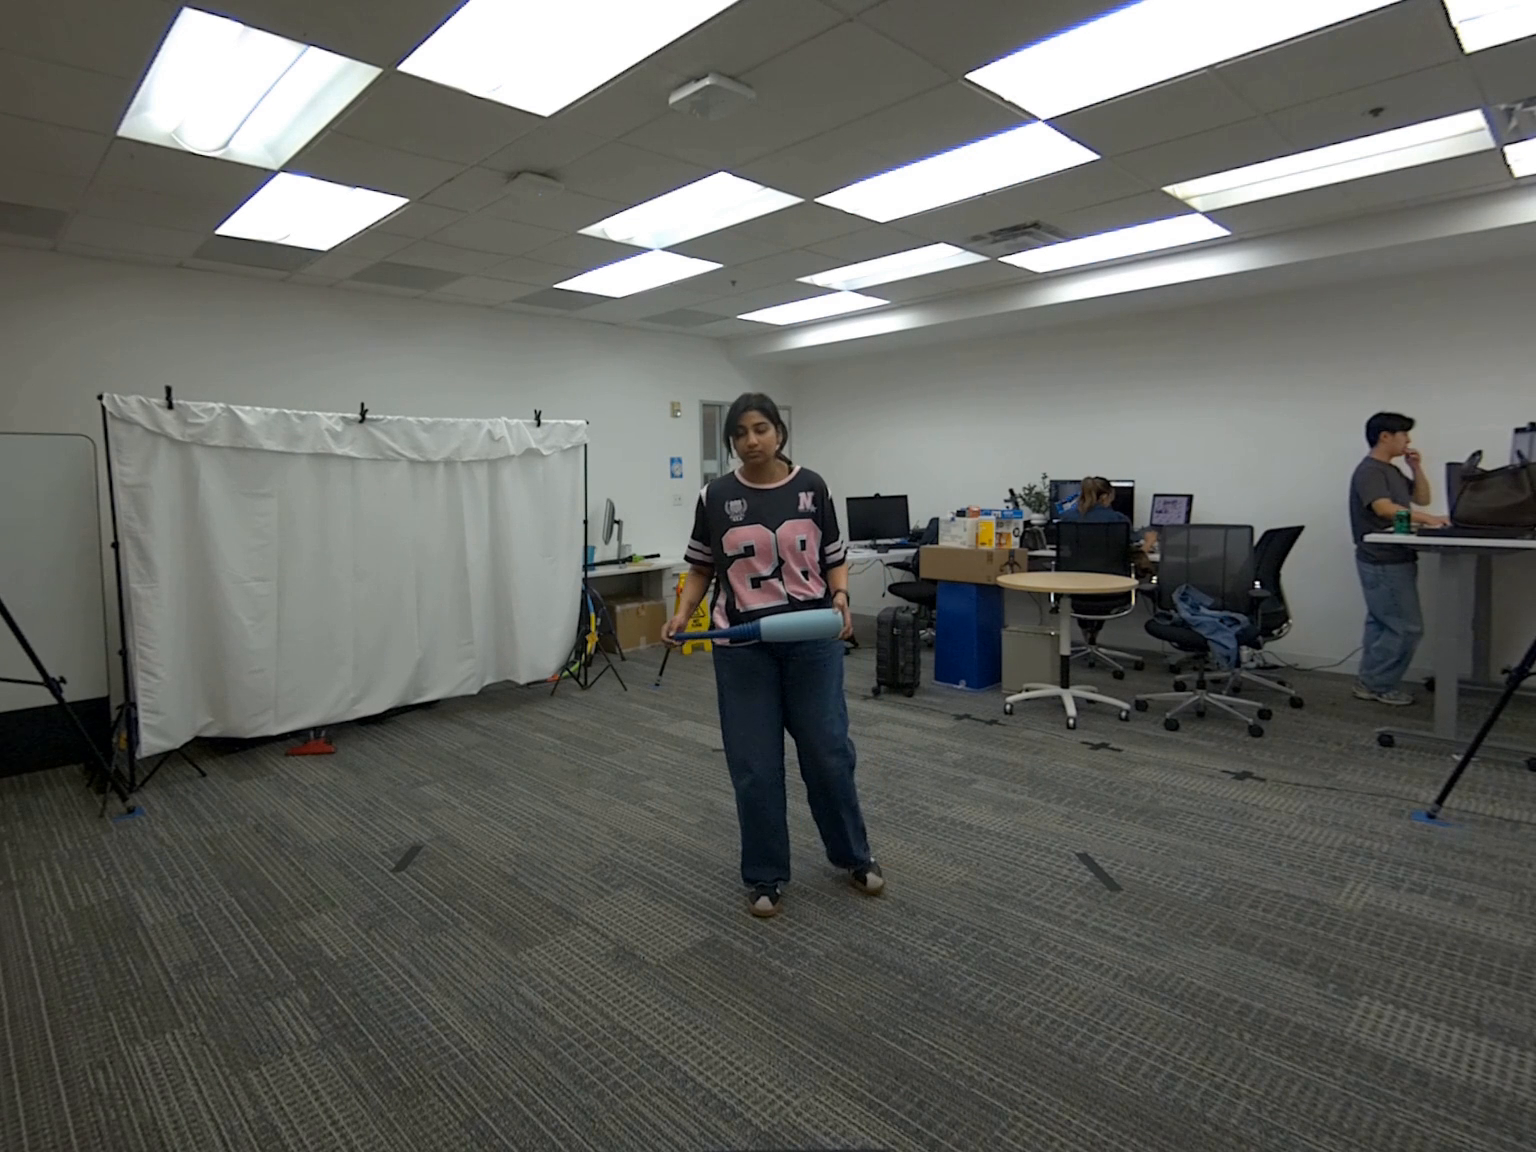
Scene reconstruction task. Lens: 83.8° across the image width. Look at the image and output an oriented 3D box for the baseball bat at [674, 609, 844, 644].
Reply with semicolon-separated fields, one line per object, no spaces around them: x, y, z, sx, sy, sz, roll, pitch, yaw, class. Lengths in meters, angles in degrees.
-0.016;0.172;2.618;0.545;0.089;0.089;-7;4;5;baseball bat
